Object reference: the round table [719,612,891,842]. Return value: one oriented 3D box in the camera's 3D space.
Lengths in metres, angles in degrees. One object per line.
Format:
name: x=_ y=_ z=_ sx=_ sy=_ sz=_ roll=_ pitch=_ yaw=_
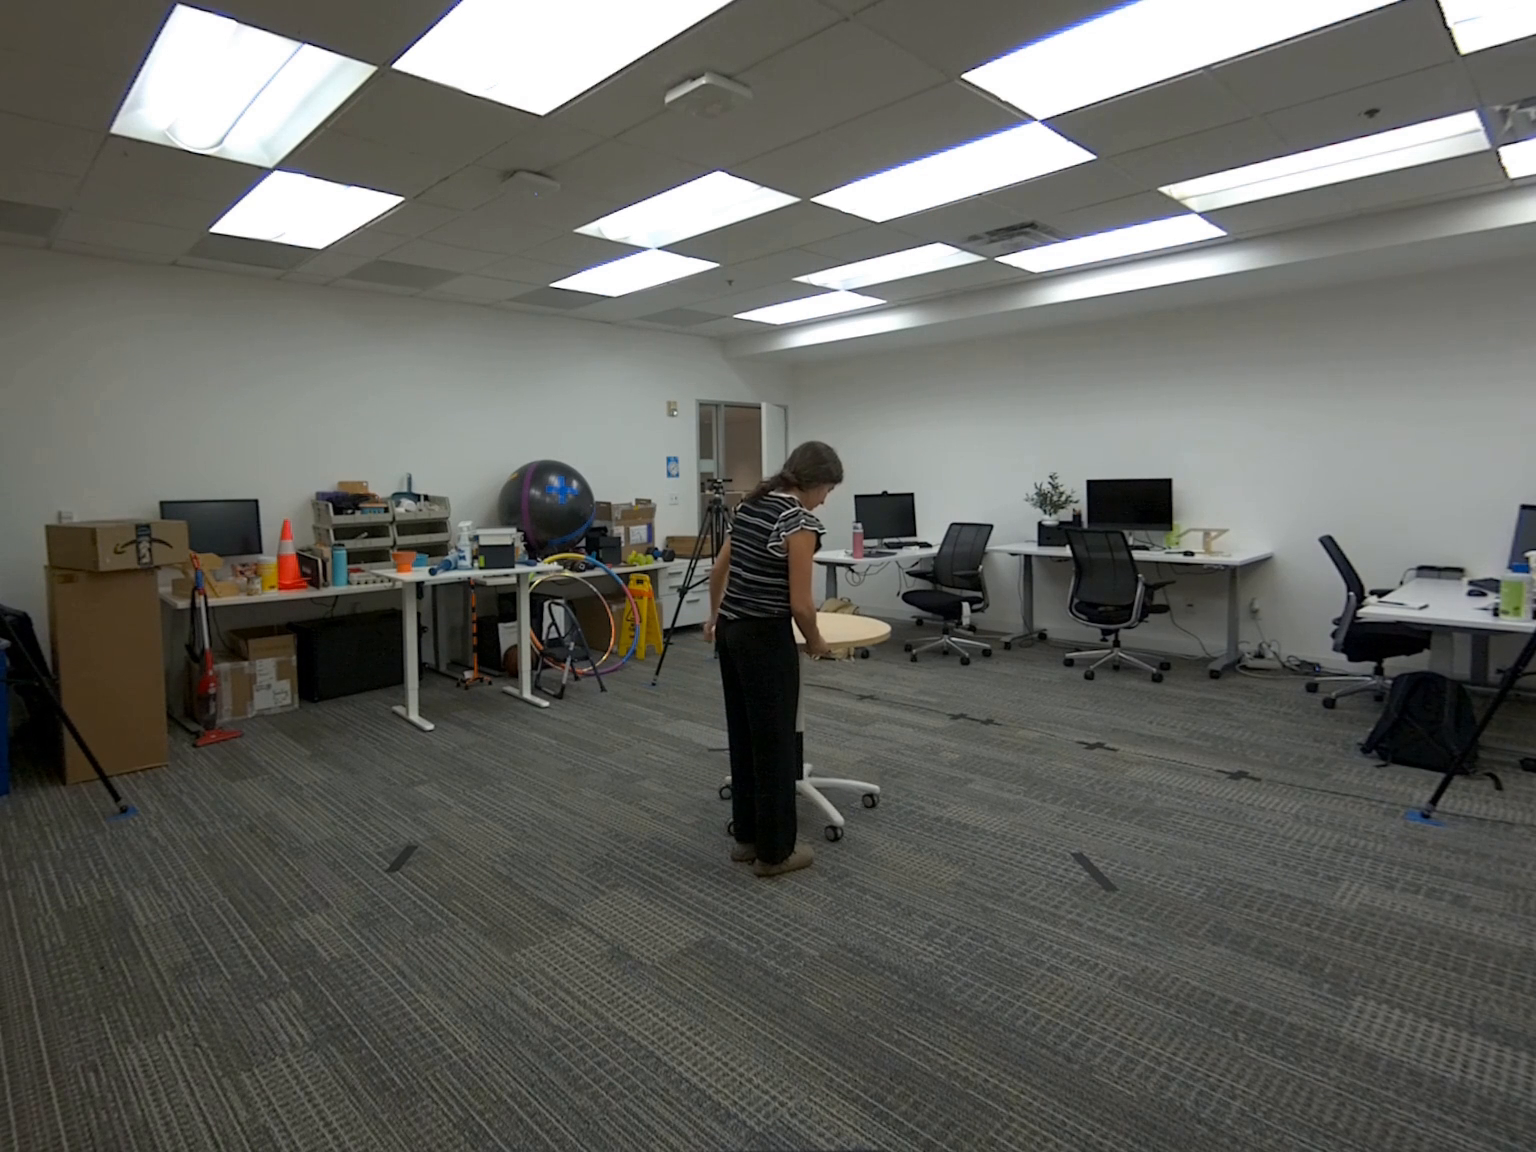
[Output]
round table: x=0.120 y=0.597 z=3.554 sx=0.784 sy=0.784 sz=0.789 roll=-1 pitch=4 yaw=-2
